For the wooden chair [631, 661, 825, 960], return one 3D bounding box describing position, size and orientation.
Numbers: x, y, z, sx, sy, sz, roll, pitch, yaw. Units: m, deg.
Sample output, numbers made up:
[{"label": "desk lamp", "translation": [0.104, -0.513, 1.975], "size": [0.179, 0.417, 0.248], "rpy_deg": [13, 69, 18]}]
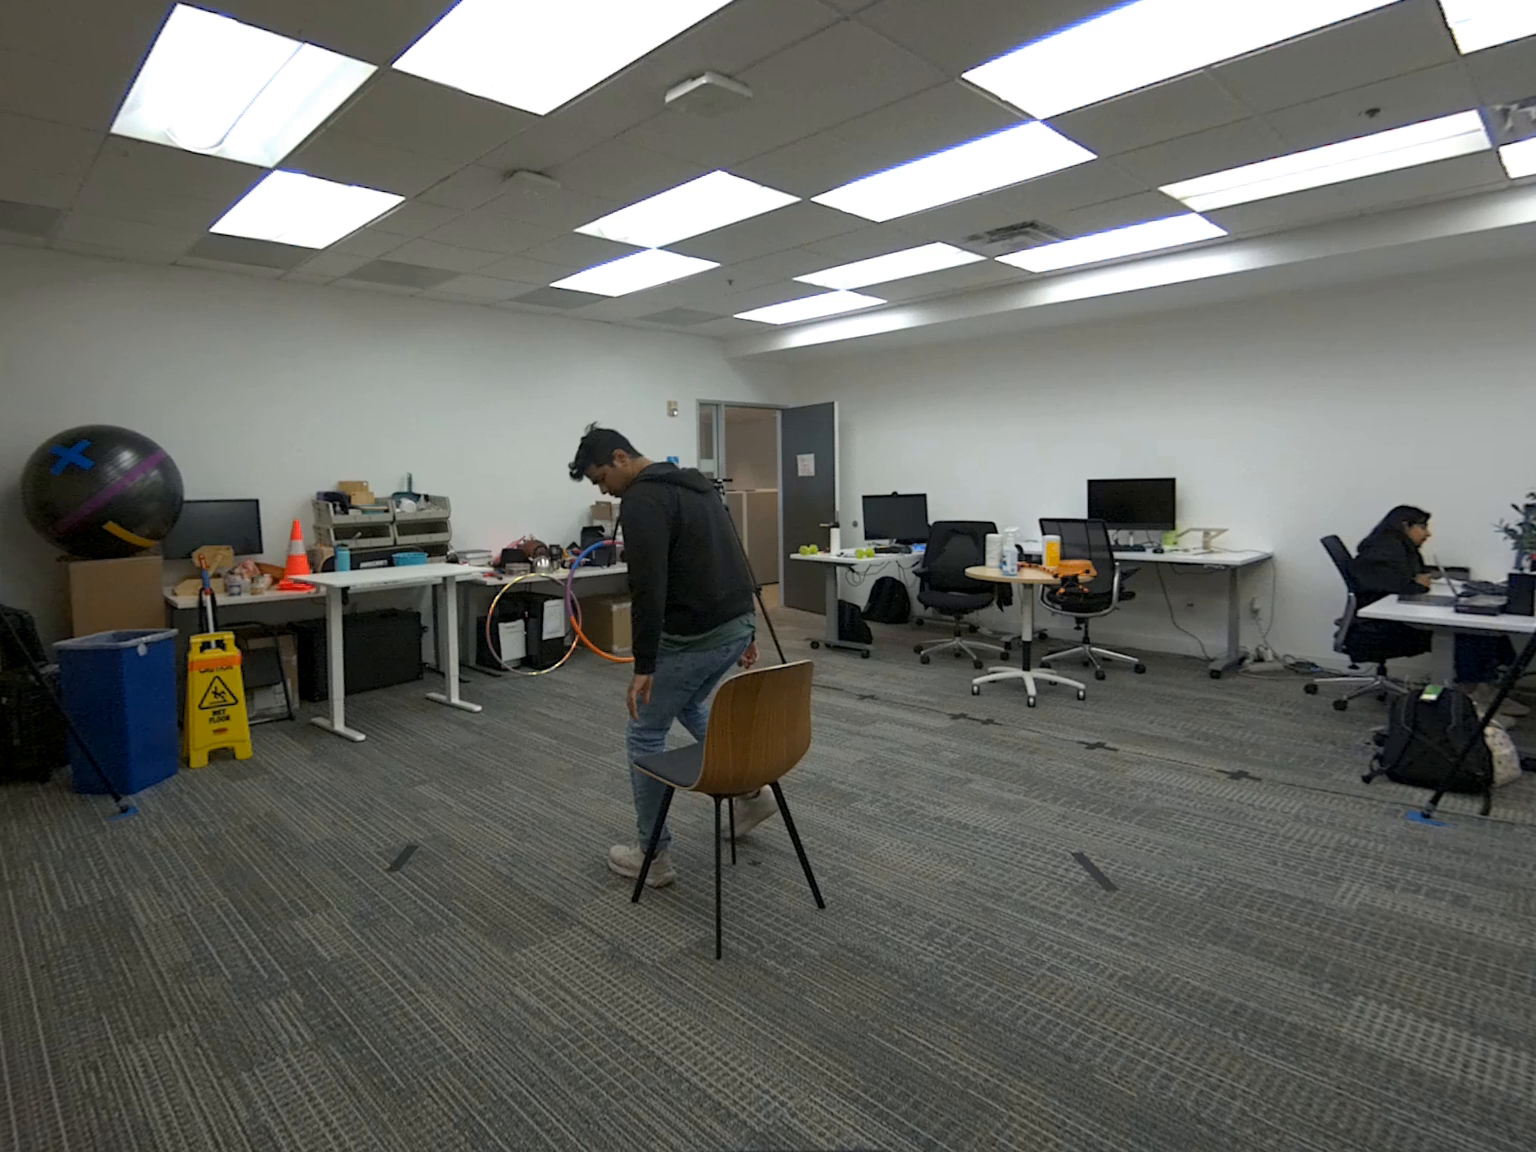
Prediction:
[{"label": "wooden chair", "translation": [-0.137, 0.655, 2.777], "size": [0.466, 0.871, 0.540], "rpy_deg": [-6, 10, -42]}]
